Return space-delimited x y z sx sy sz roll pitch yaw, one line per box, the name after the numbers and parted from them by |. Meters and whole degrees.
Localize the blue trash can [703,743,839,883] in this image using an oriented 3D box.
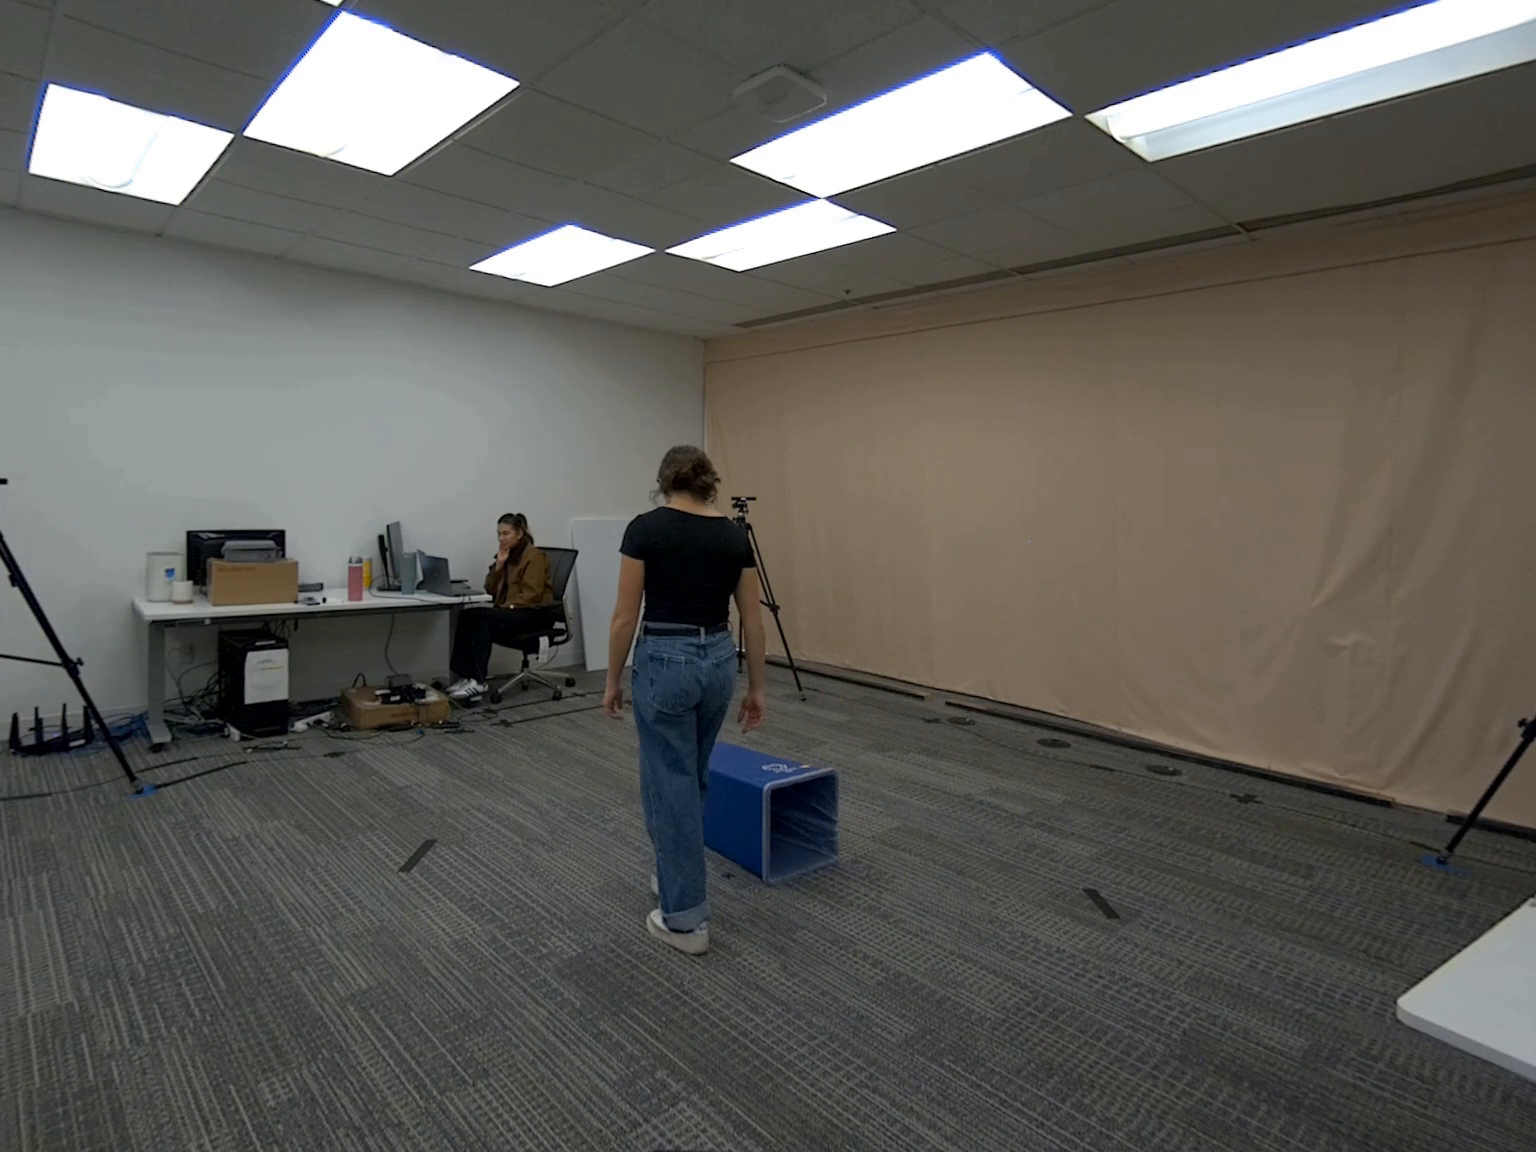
-0.104 0.915 3.396 0.366 0.377 0.730 -2 3 -39 | blue trash can
